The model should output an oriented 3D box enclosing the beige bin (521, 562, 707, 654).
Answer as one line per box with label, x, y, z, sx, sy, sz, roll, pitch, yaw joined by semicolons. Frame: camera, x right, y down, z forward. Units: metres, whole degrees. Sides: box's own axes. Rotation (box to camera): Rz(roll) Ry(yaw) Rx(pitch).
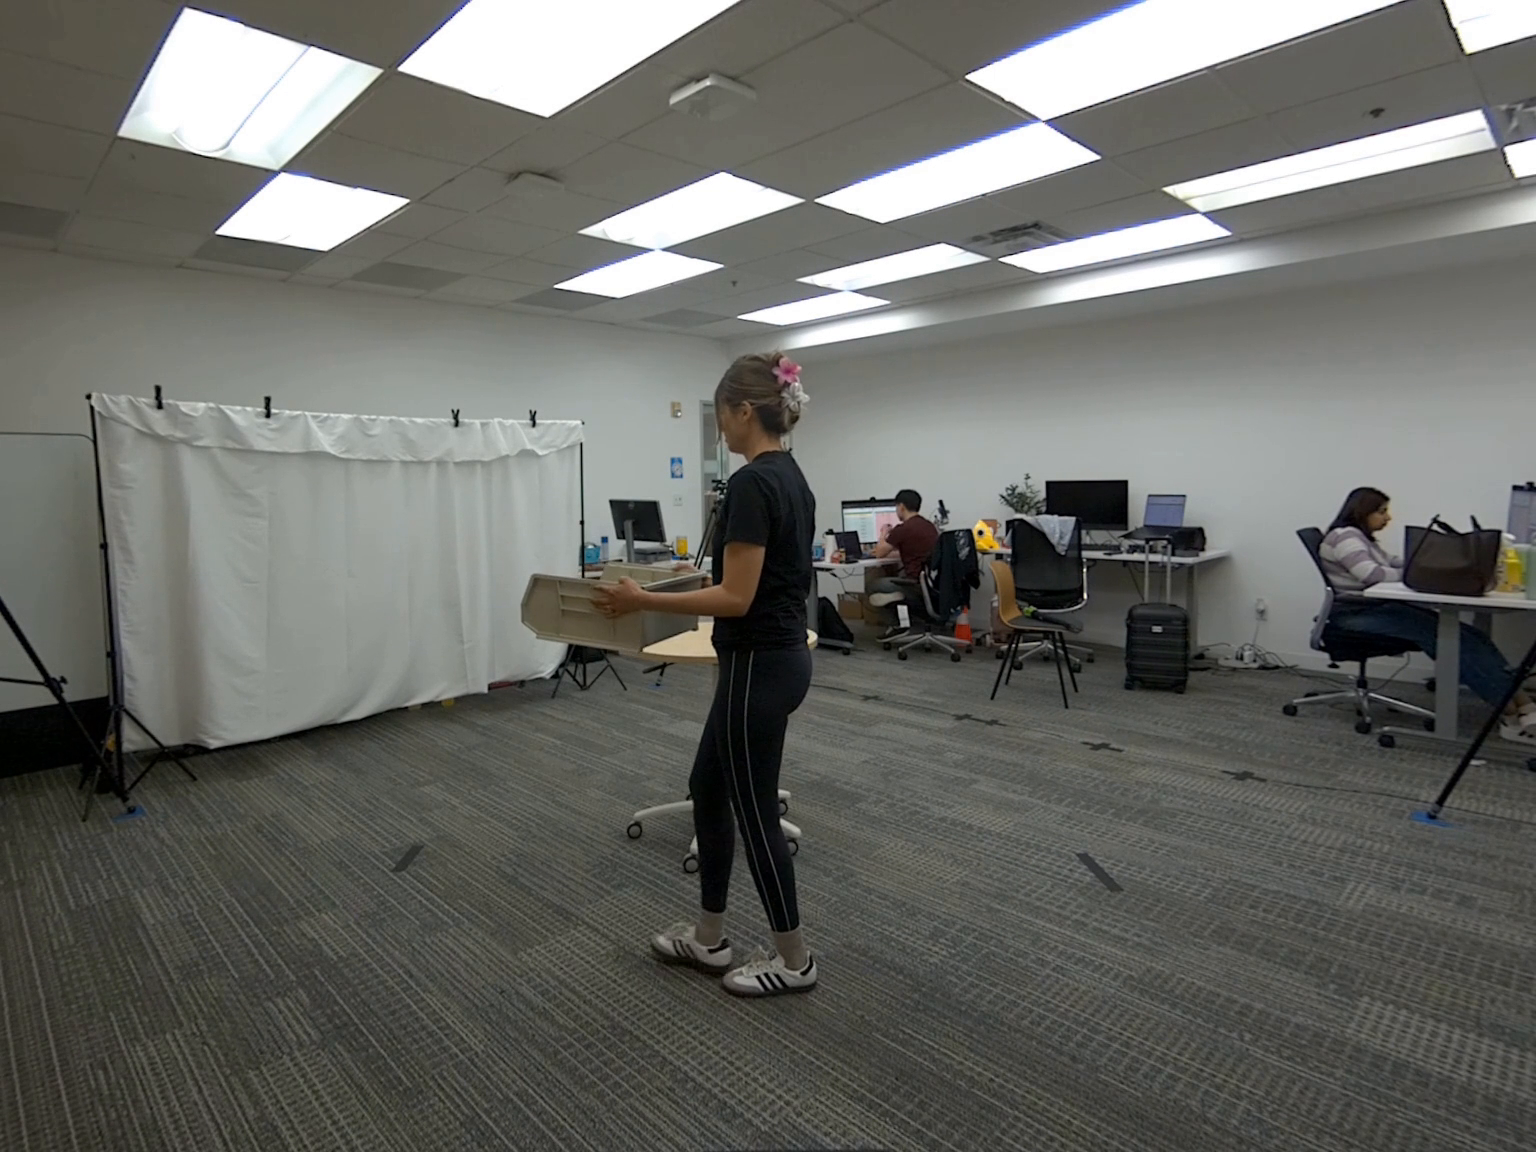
beige bin;-0.438;0.083;2.462;0.385;0.188;0.415;8;7;19
